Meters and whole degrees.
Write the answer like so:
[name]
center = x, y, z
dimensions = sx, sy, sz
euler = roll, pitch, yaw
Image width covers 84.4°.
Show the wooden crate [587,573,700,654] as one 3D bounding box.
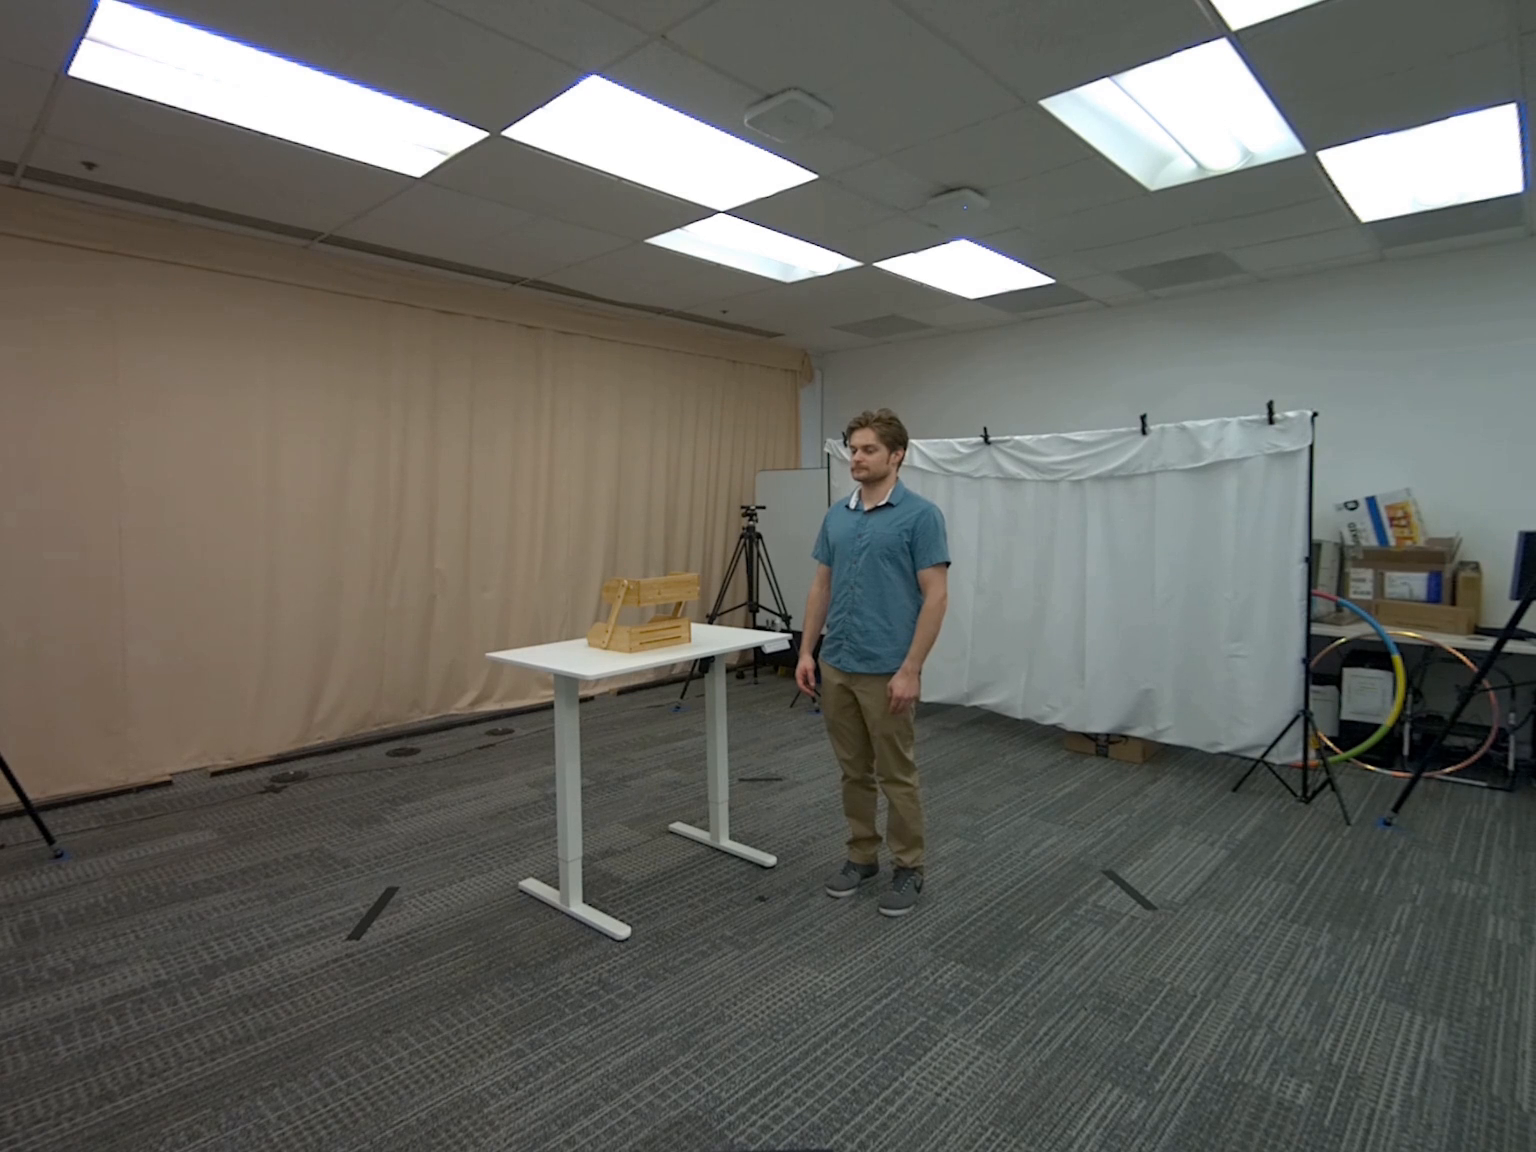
[wooden crate]
center = -0.462, 0.124, 3.108
dimensions = 0.312, 0.272, 0.314
euler = 4, 6, 43
